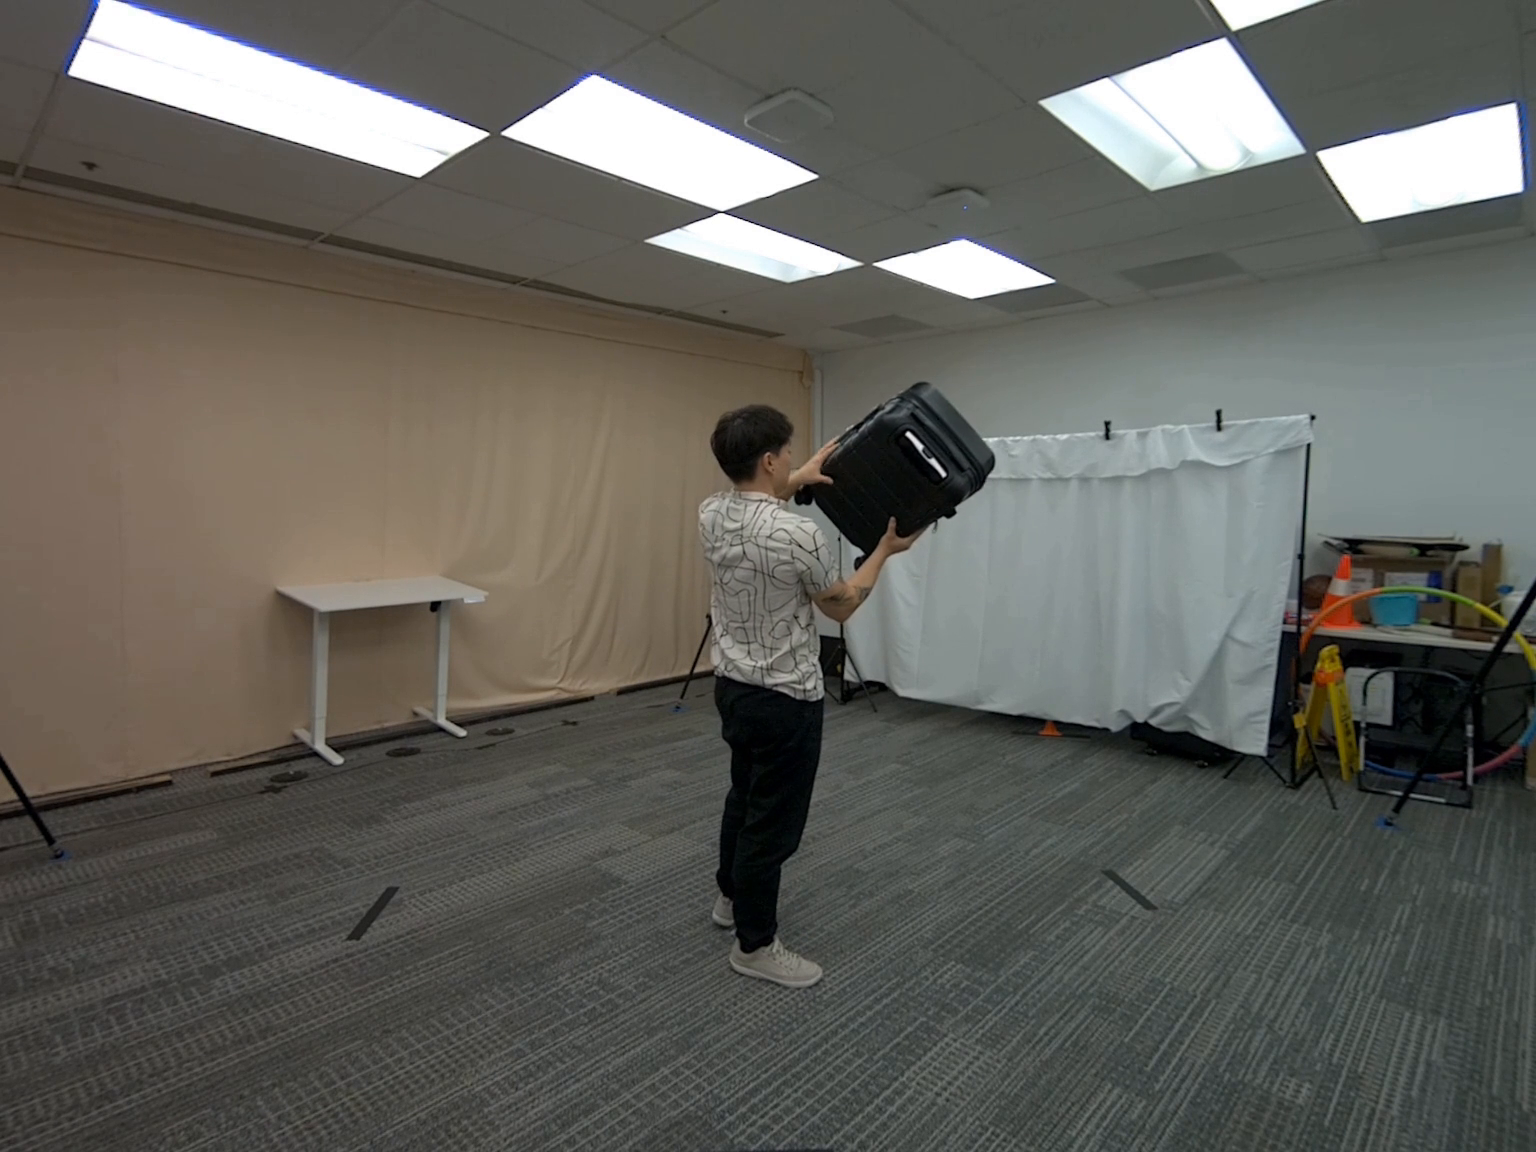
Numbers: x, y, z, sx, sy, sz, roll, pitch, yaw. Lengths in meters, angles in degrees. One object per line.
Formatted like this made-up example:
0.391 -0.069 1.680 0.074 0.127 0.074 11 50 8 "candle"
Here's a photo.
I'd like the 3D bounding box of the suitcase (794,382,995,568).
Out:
0.389 -0.305 2.539 0.245 0.376 0.555 -40 0 -35 "suitcase"
